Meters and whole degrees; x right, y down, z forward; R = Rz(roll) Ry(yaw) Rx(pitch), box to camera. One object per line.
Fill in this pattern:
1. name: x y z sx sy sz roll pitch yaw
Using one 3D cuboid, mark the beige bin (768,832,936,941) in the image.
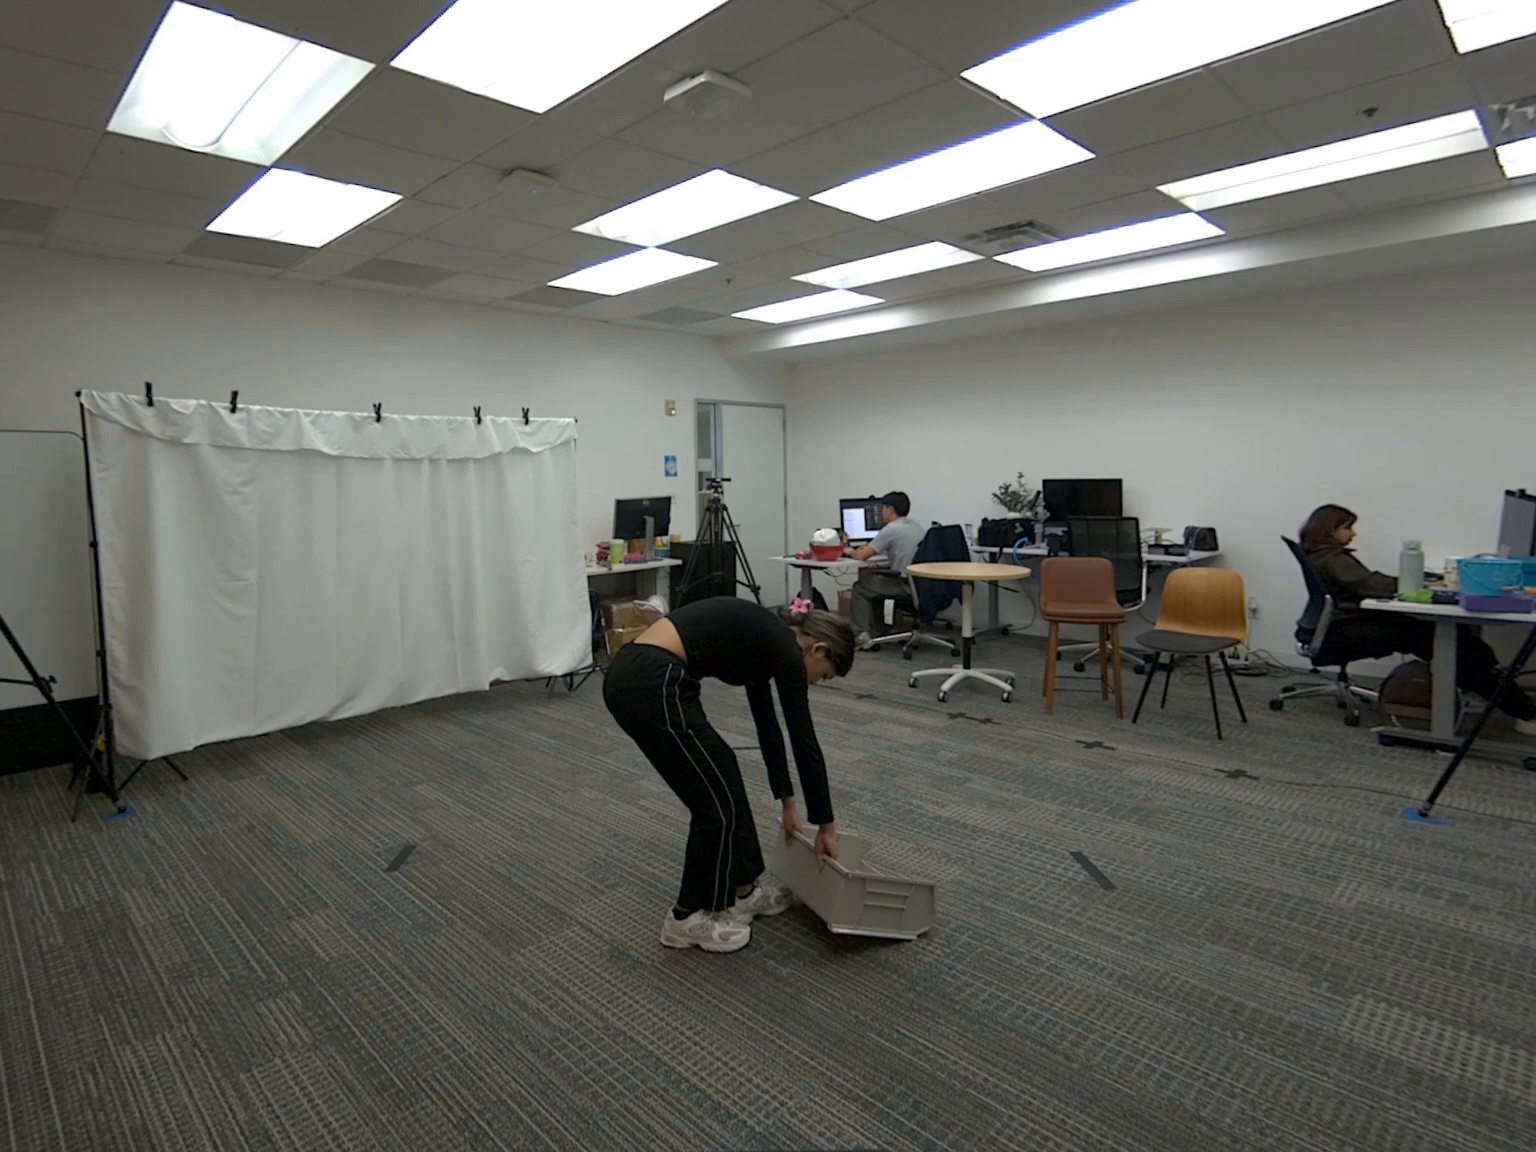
1. beige bin: 0.262 0.954 2.707 0.367 0.189 0.434 15 -1 -27
